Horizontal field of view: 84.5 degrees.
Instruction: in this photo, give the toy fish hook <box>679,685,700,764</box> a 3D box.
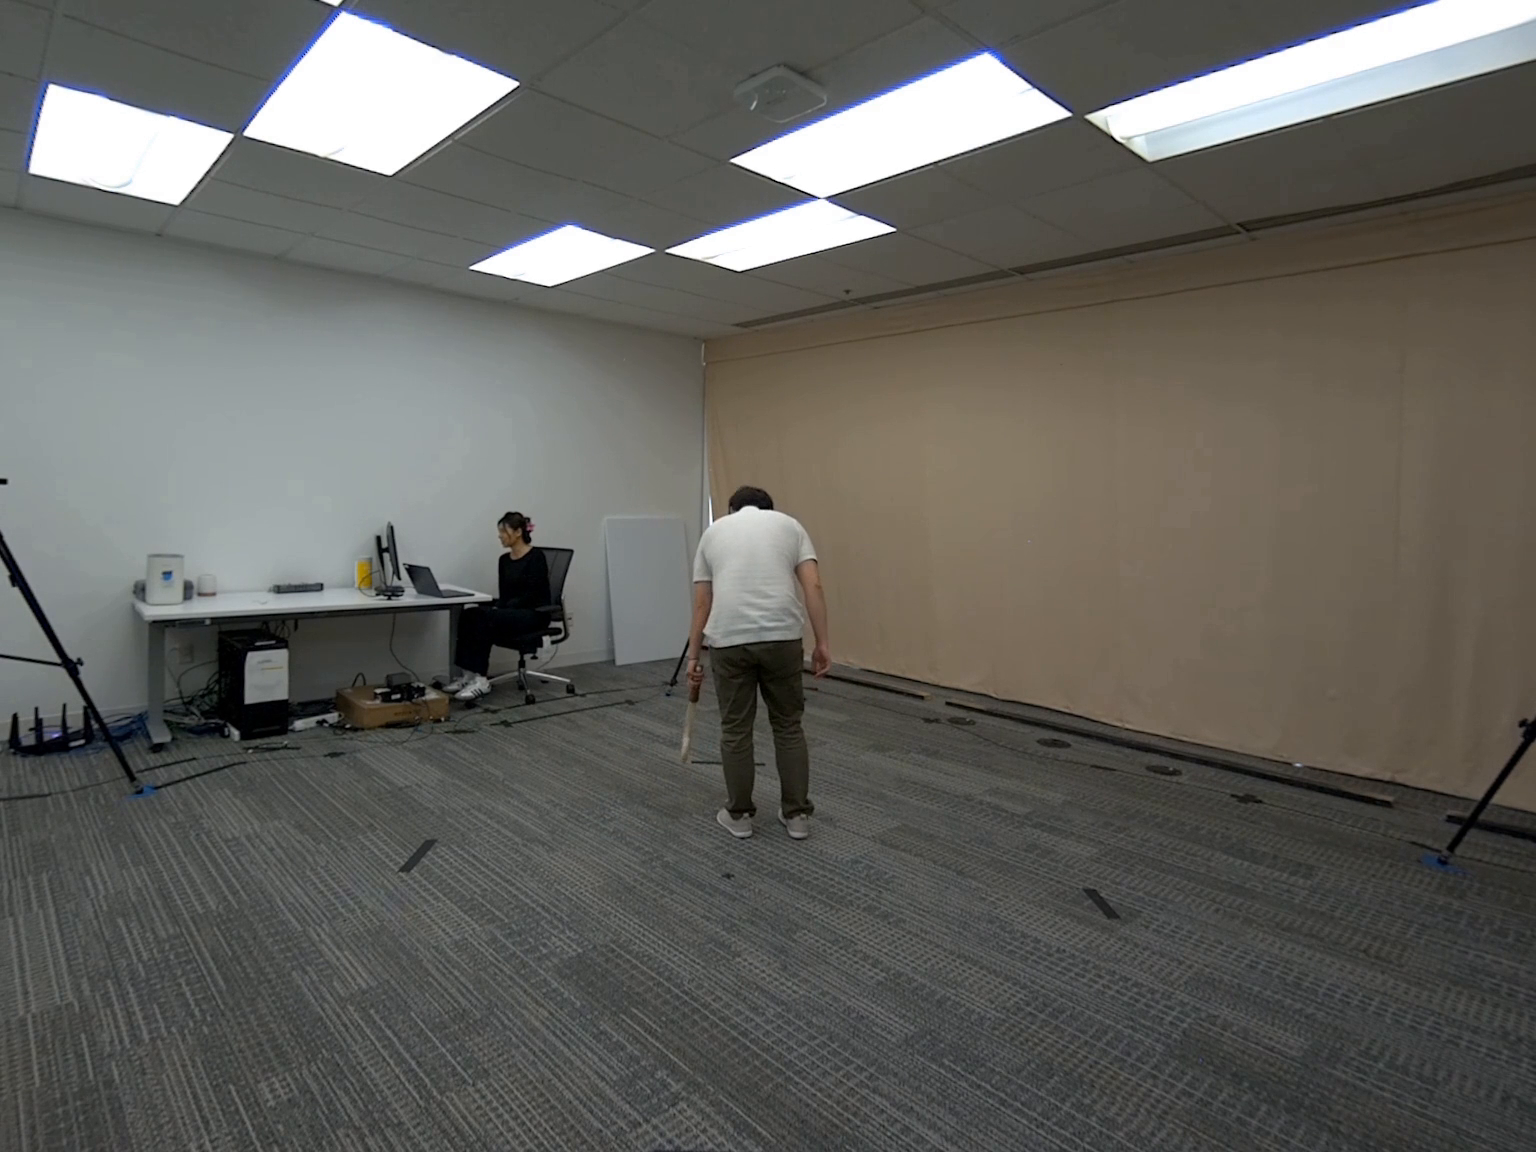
[{"bbox_3d":[-0.344,0.619,3.736,0.048,0.499,0.230,5,29,-12],"label":"toy fish hook"}]
